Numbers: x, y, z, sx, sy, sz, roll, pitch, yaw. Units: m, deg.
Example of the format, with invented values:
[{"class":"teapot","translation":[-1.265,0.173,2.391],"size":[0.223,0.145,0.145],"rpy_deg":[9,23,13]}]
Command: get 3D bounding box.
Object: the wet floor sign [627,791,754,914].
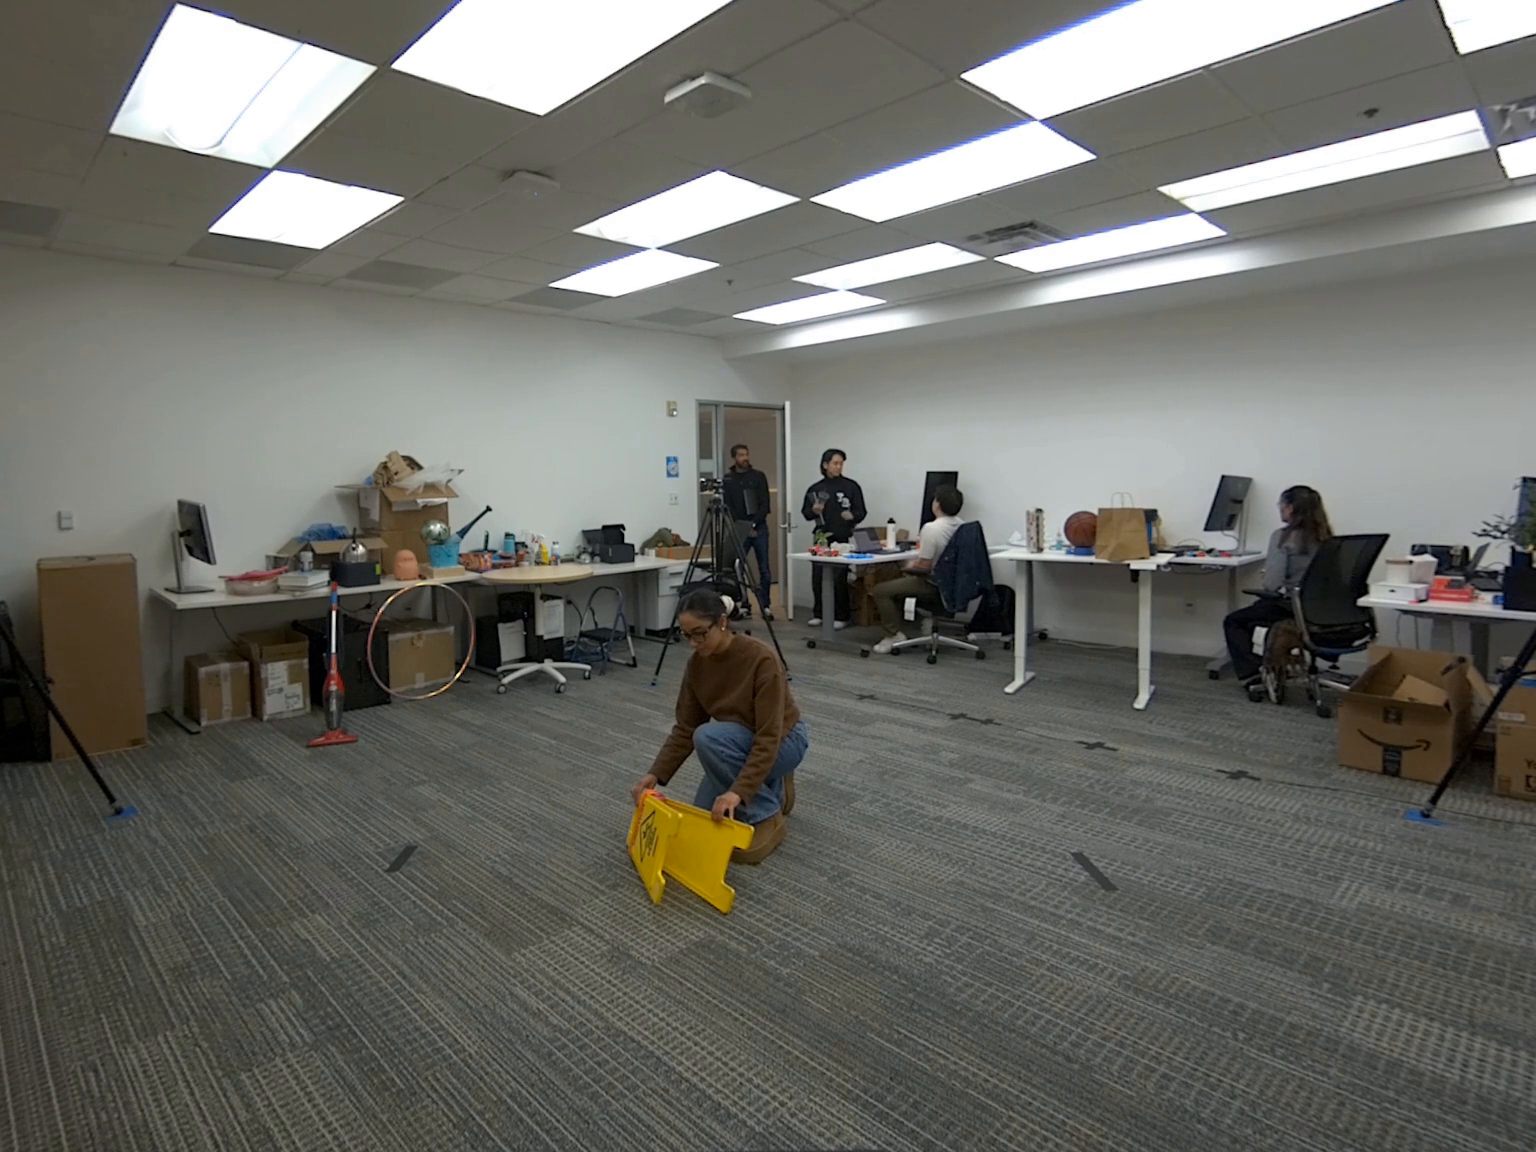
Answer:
[{"class":"wet floor sign","translation":[-0.352,0.928,3.006],"size":[0.282,0.284,0.659],"rpy_deg":[19,-10,-26]}]
